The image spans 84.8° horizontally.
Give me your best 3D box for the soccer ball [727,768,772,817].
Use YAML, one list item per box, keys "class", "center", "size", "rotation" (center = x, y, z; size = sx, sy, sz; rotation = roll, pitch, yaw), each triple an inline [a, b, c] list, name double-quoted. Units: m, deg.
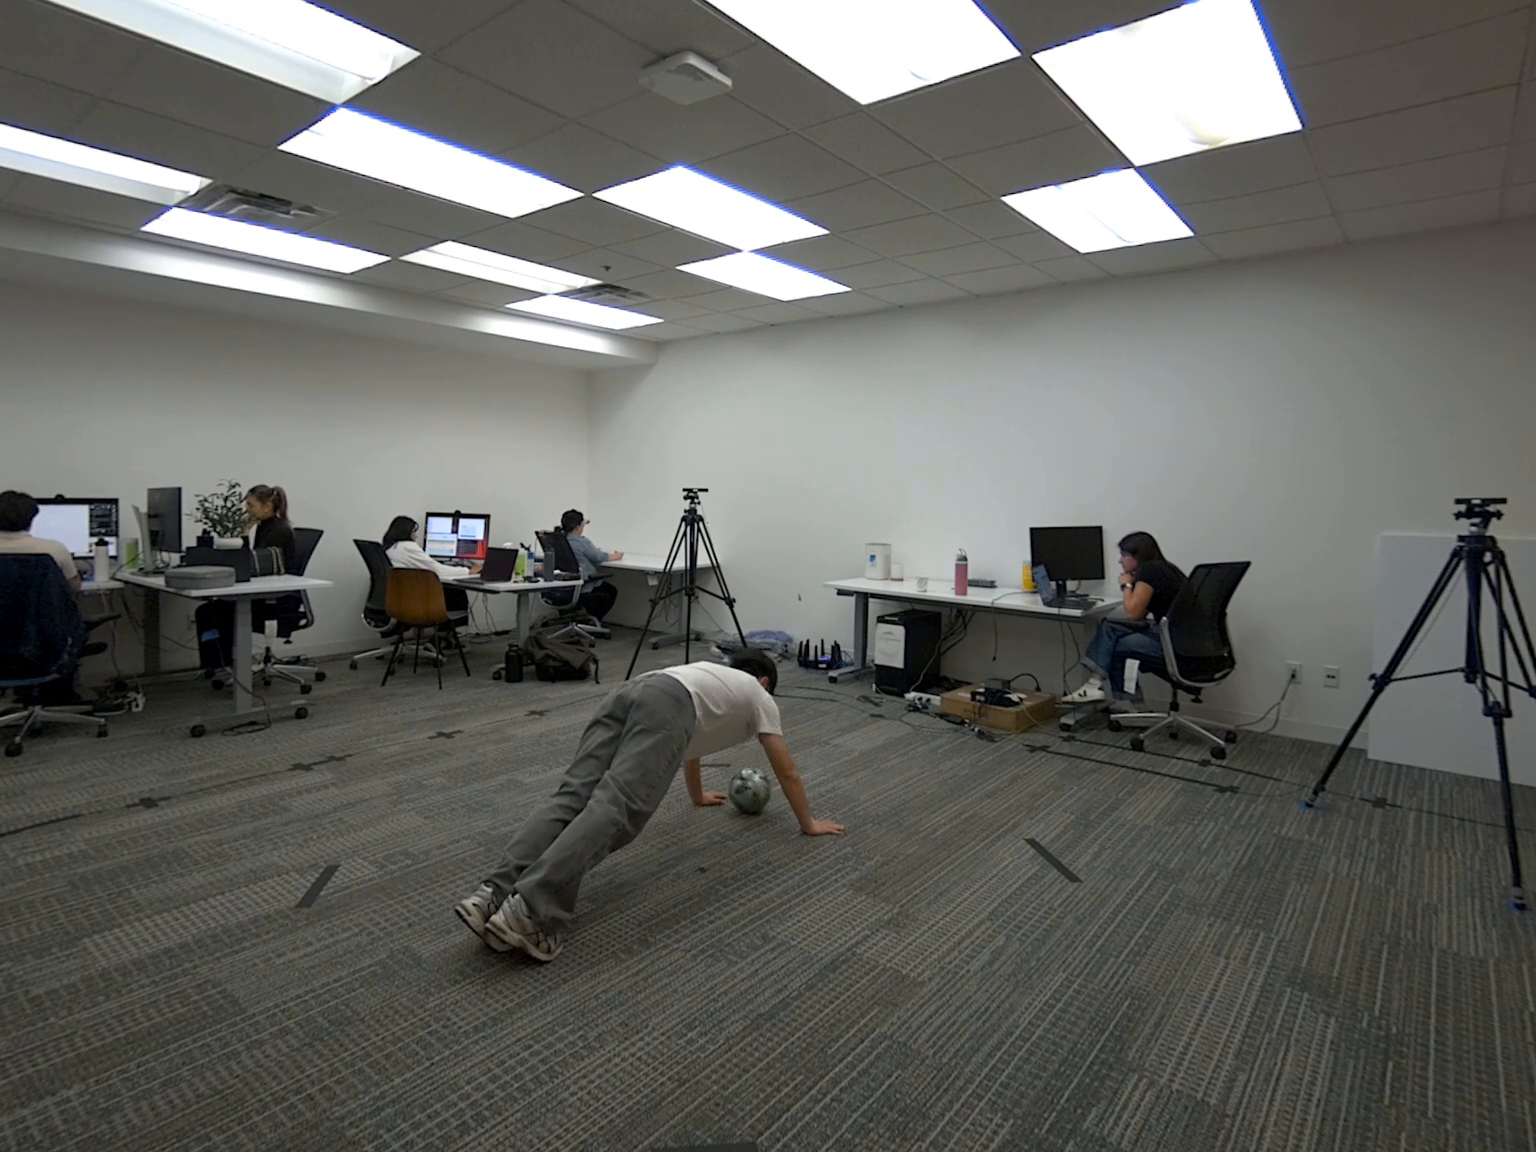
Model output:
- class: "soccer ball"
  center: [-0.071, 0.917, 3.680]
  size: [0.187, 0.187, 0.188]
  rotation: [1, 4, -2]
